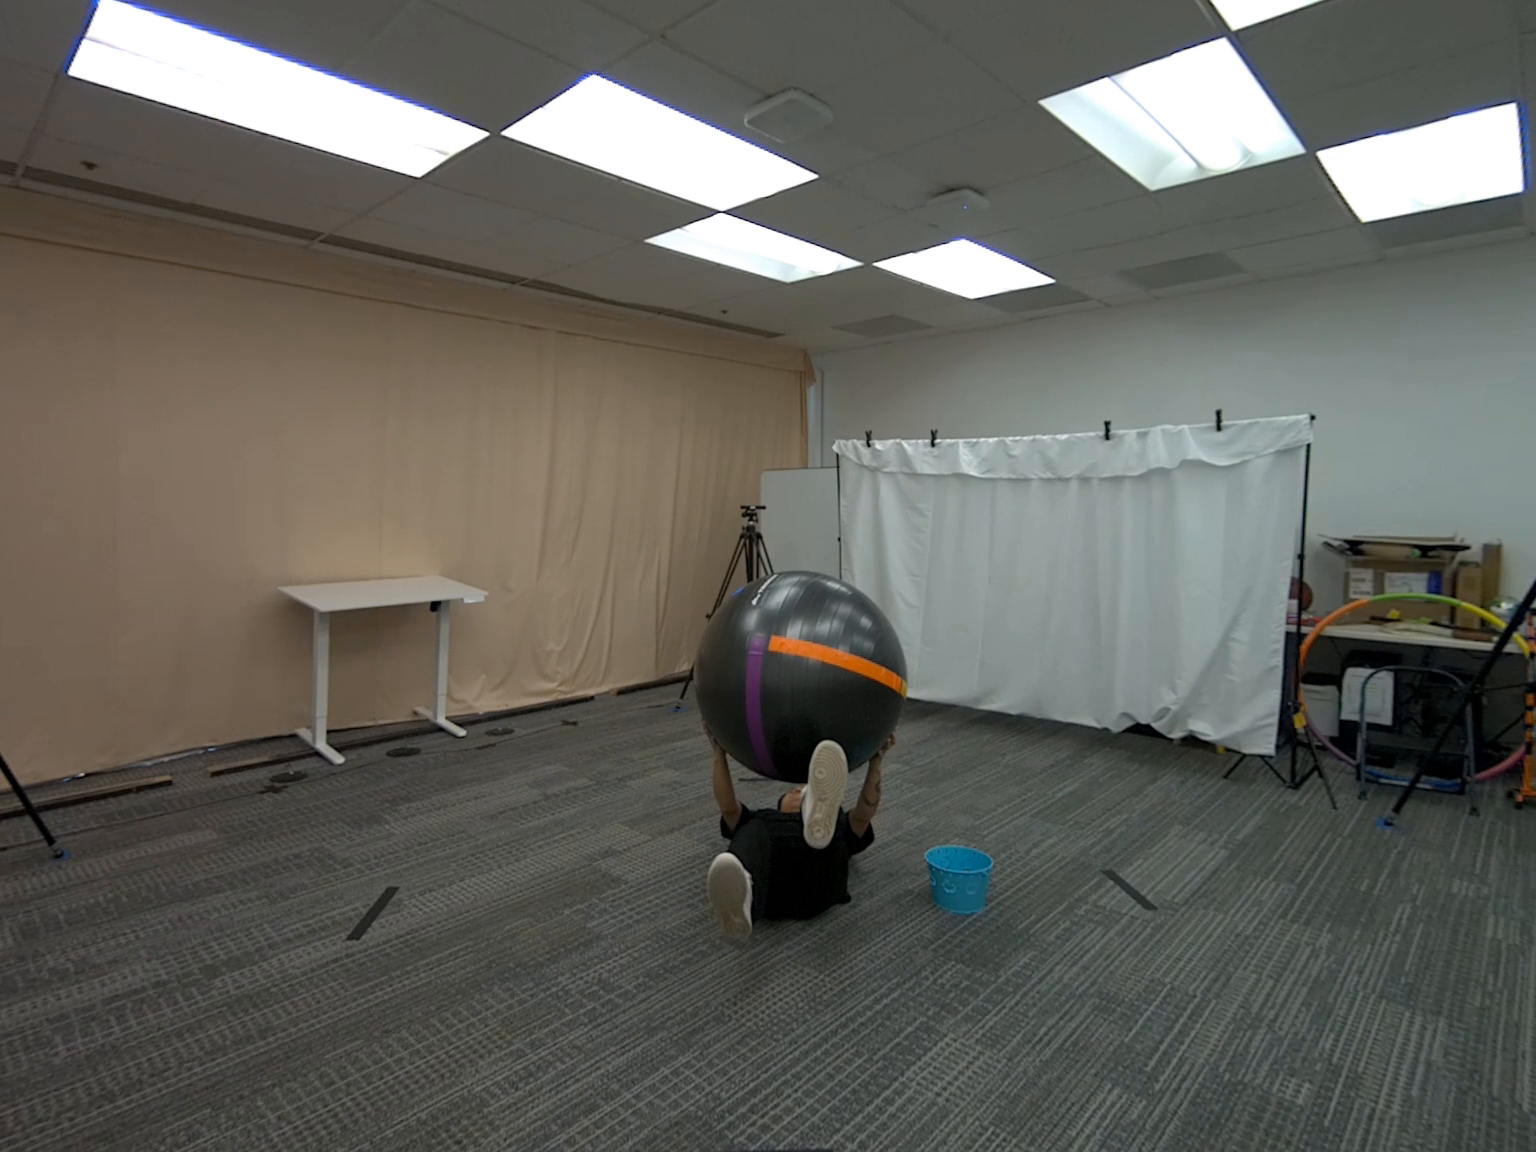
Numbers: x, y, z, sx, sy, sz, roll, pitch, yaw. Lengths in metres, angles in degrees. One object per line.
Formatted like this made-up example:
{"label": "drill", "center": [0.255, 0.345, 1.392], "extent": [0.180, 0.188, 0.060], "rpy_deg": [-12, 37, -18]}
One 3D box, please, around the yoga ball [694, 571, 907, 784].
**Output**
{"label": "yoga ball", "center": [0.113, 0.366, 3.050], "extent": [0.757, 0.756, 0.760], "rpy_deg": [0, 4, -2]}
